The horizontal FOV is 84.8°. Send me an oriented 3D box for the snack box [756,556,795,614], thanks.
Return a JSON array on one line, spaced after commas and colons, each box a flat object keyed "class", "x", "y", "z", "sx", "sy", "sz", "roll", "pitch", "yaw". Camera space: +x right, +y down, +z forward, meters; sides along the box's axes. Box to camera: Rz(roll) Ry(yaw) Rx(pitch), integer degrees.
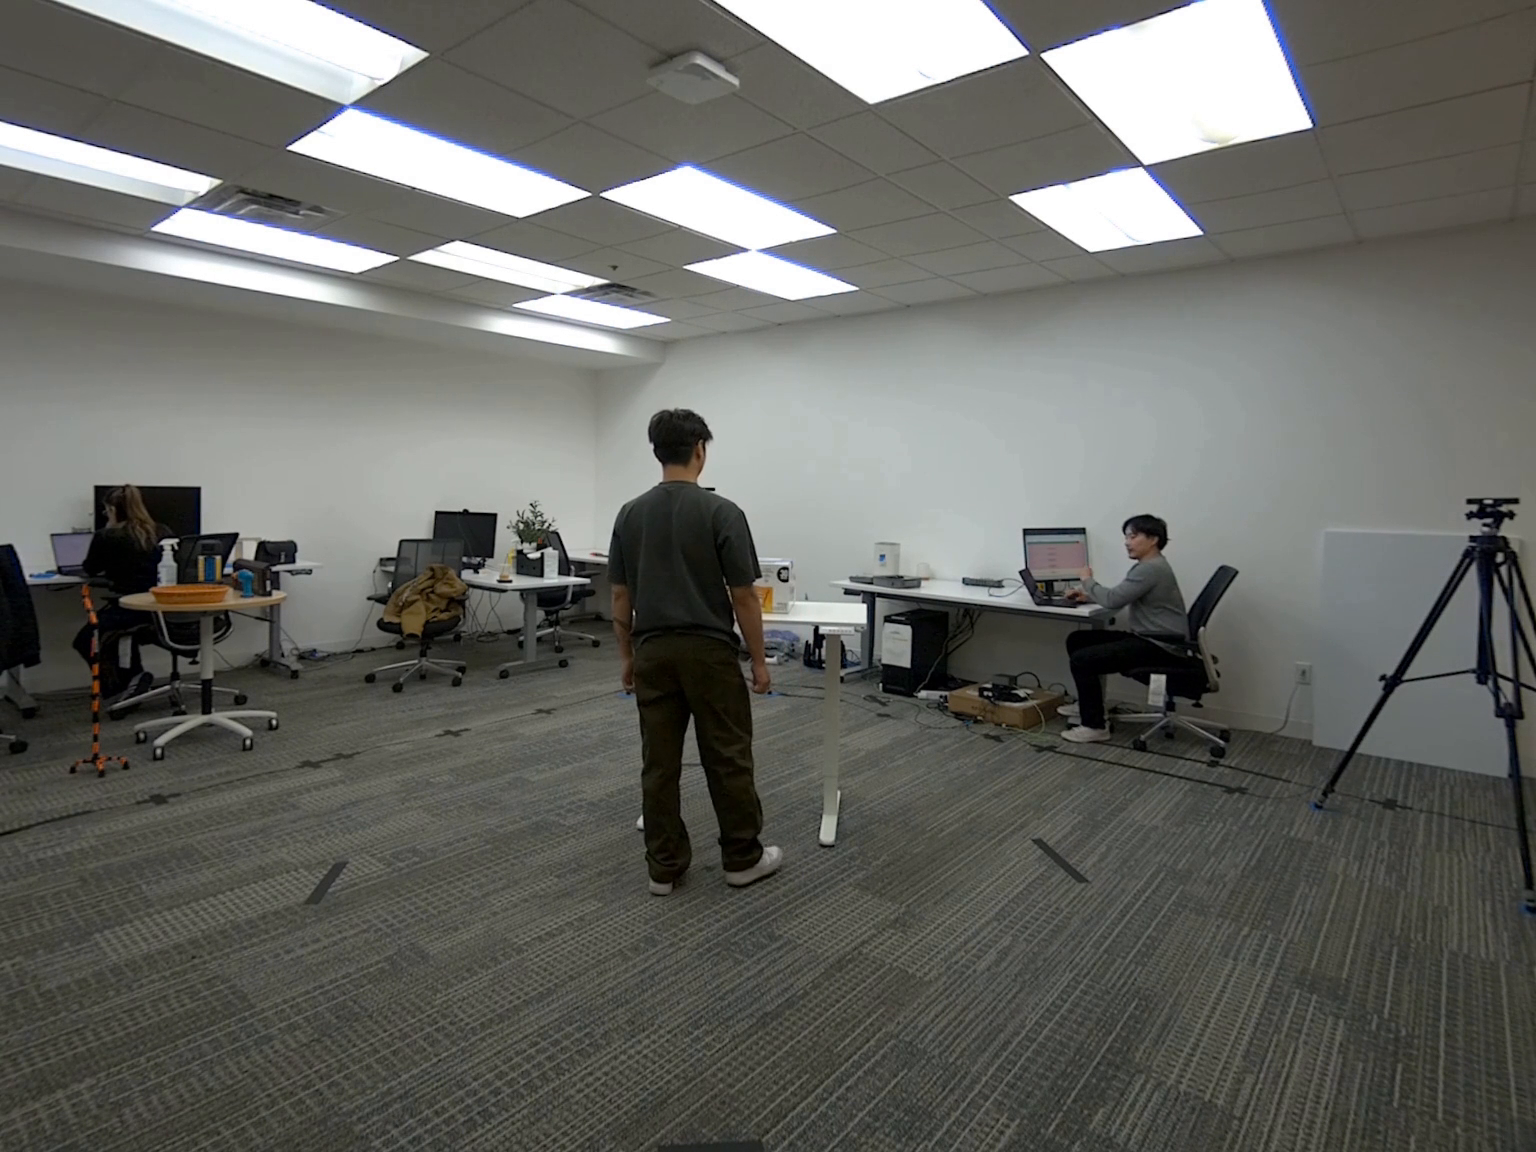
[{"class": "snack box", "x": -0.105, "y": 0.030, "z": 3.667, "sx": 0.409, "sy": 0.205, "sz": 0.338, "roll": 1, "pitch": 5, "yaw": 8}]
